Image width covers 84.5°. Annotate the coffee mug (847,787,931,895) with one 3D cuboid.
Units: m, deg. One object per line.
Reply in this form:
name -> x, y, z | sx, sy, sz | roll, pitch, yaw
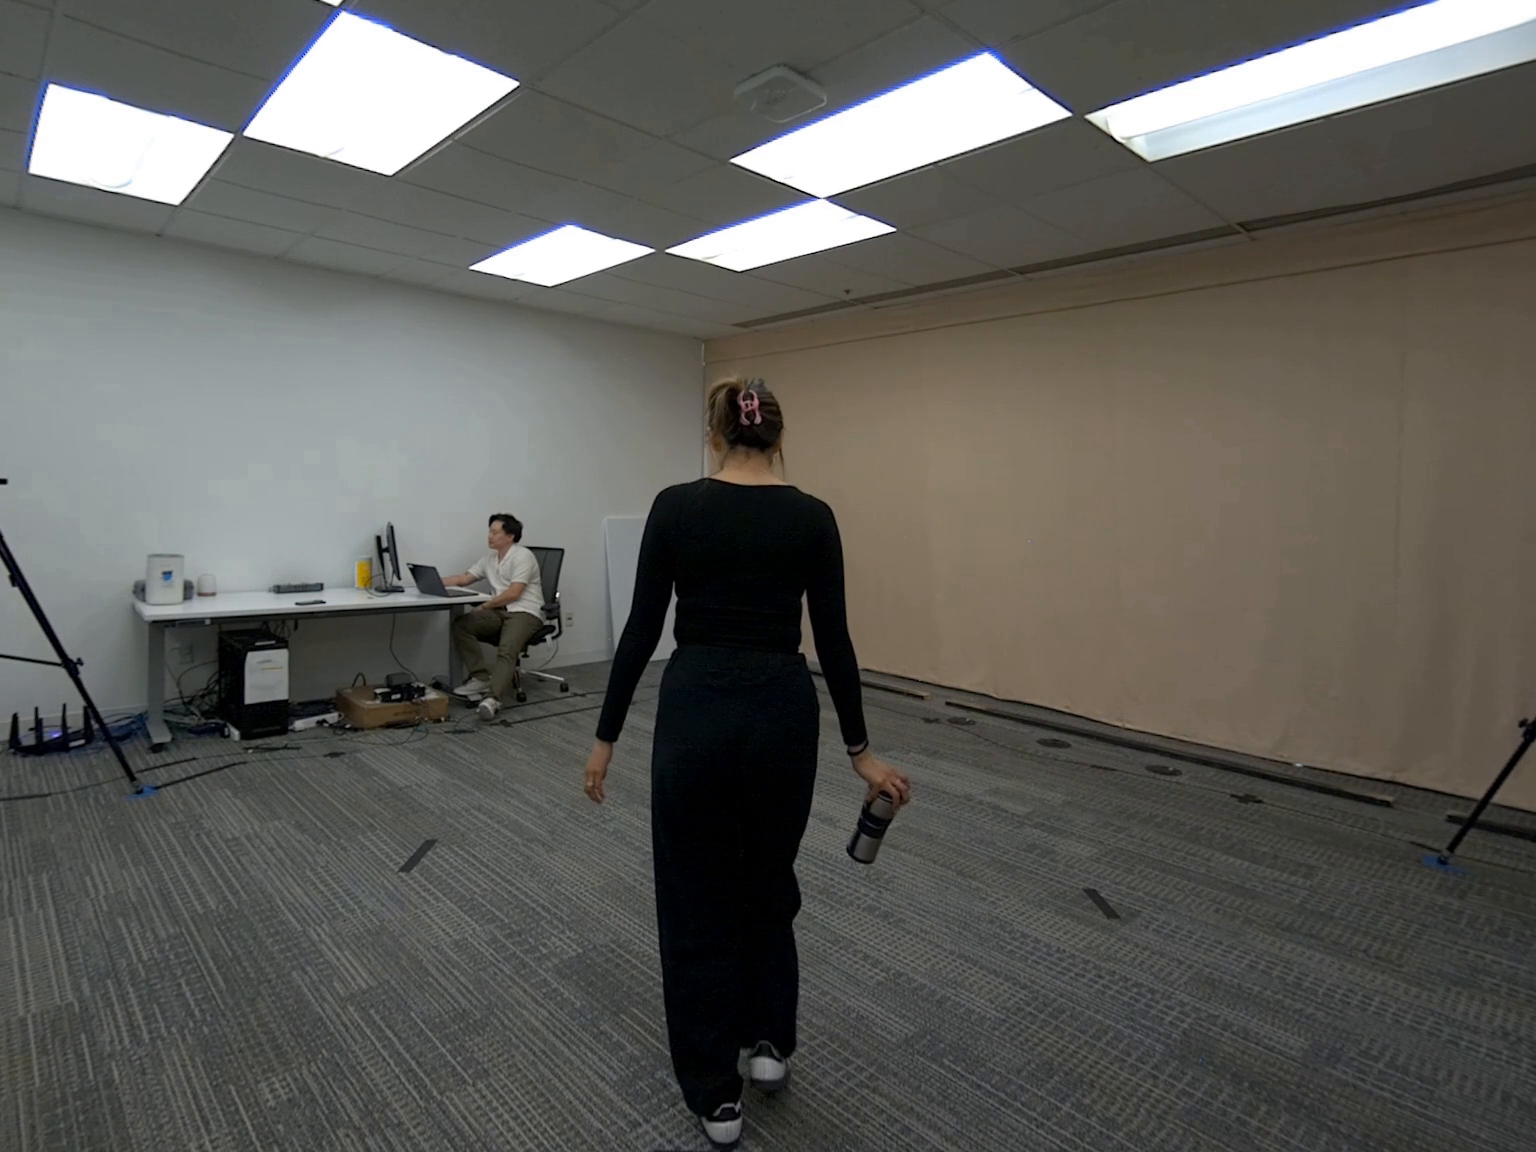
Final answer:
coffee mug -> 0.275, 0.591, 1.929 | 0.090, 0.201, 0.120 | 26, 21, 26
